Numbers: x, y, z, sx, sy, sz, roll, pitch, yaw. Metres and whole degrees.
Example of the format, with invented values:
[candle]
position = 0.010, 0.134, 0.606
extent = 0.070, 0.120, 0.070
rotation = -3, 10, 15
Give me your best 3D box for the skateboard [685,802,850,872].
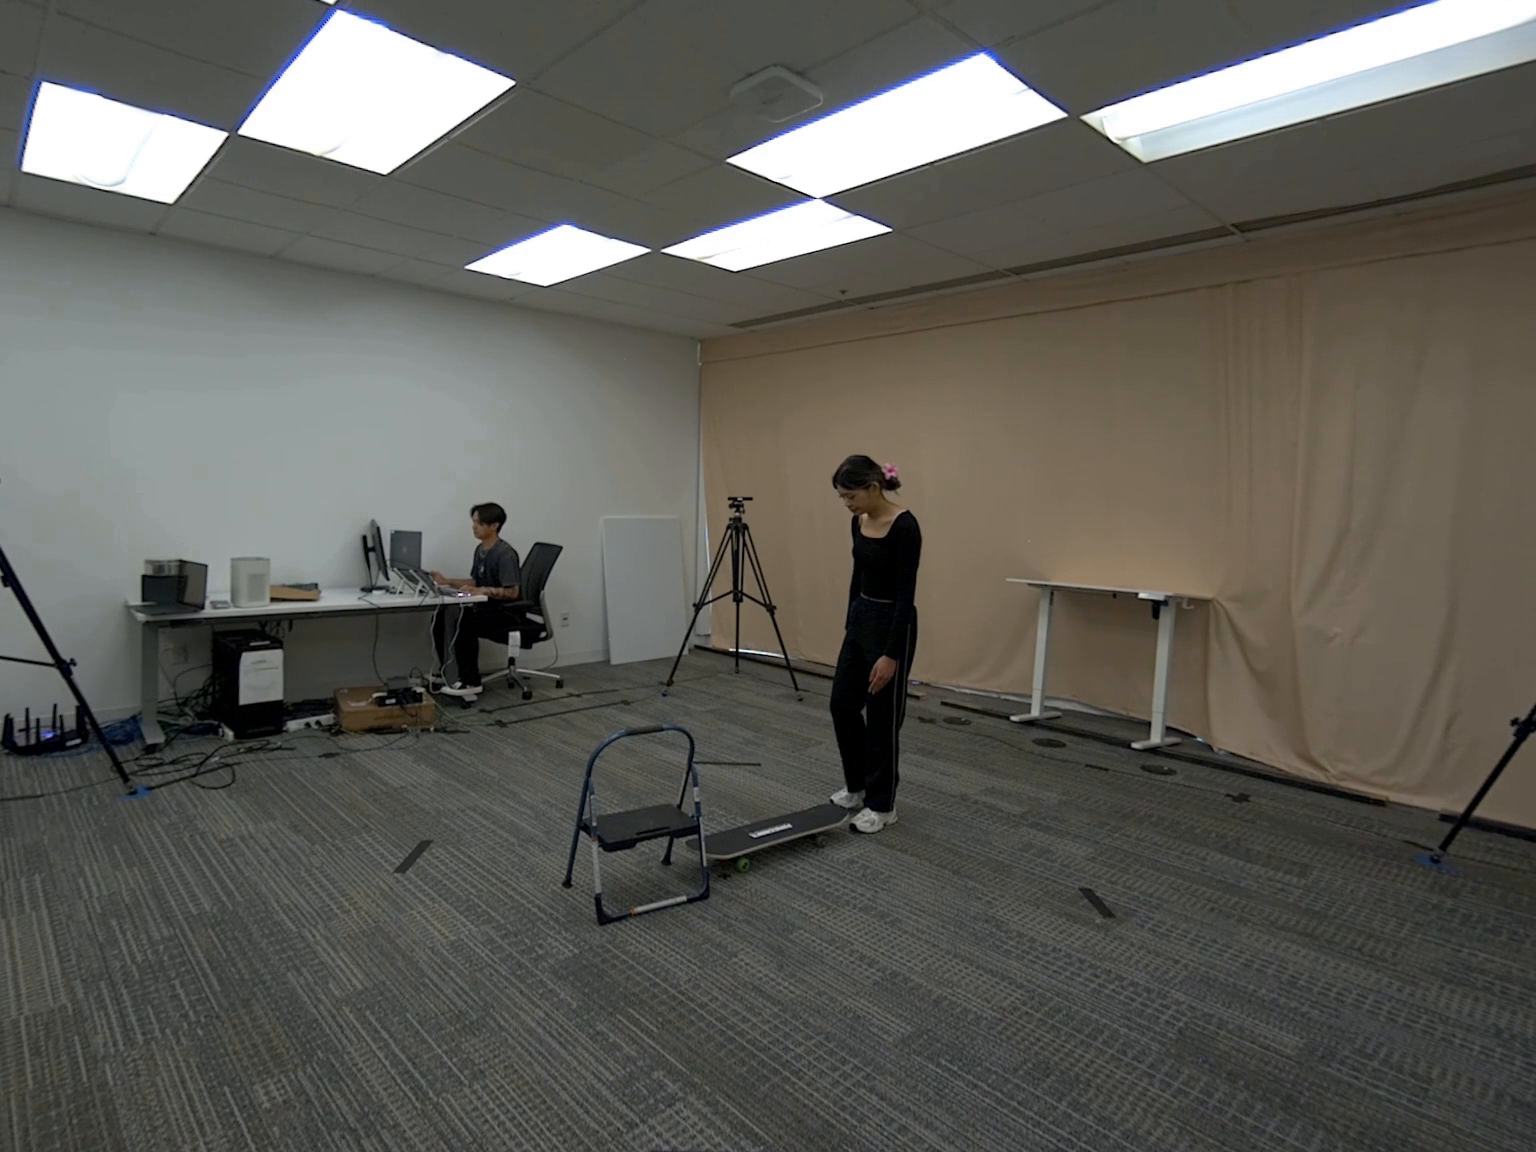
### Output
[skateboard]
position = 0.006, 1.038, 3.327
extent = 0.768, 0.110, 0.198
rotation = -3, 7, -39
